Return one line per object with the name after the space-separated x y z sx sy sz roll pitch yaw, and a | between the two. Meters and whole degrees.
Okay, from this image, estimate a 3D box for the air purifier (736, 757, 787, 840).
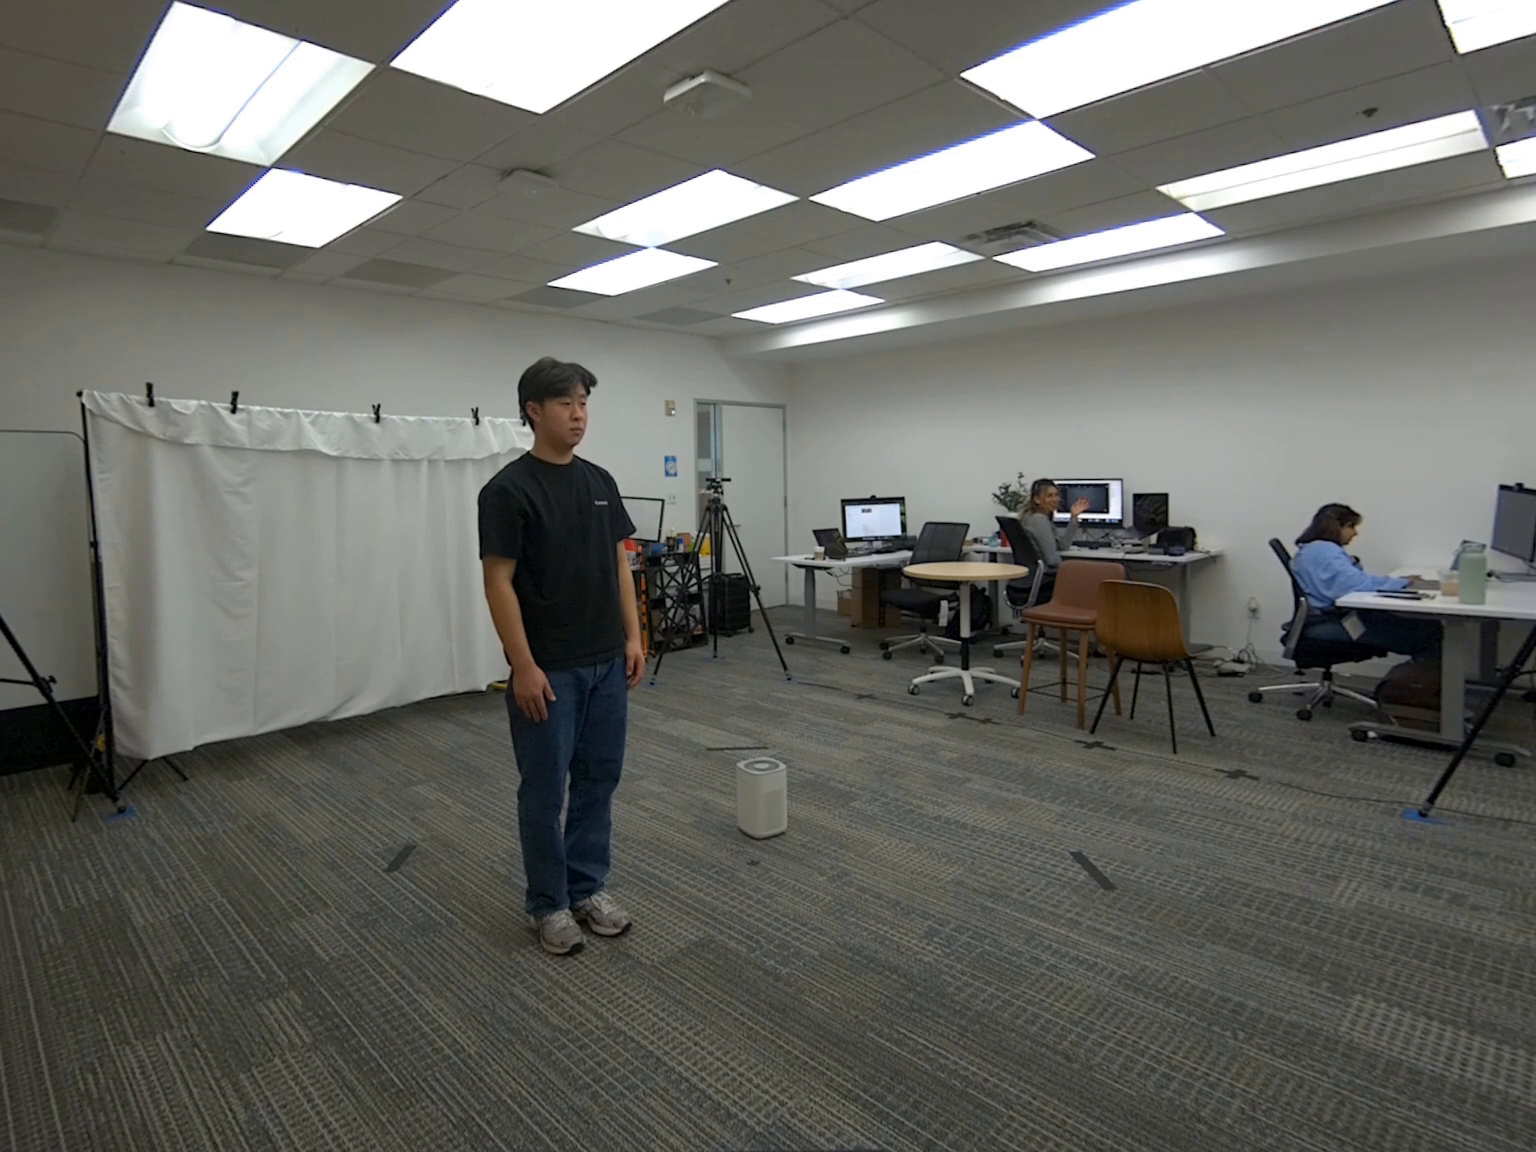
-0.024 0.870 3.368 0.167 0.264 0.176 -4 6 -36 | air purifier
